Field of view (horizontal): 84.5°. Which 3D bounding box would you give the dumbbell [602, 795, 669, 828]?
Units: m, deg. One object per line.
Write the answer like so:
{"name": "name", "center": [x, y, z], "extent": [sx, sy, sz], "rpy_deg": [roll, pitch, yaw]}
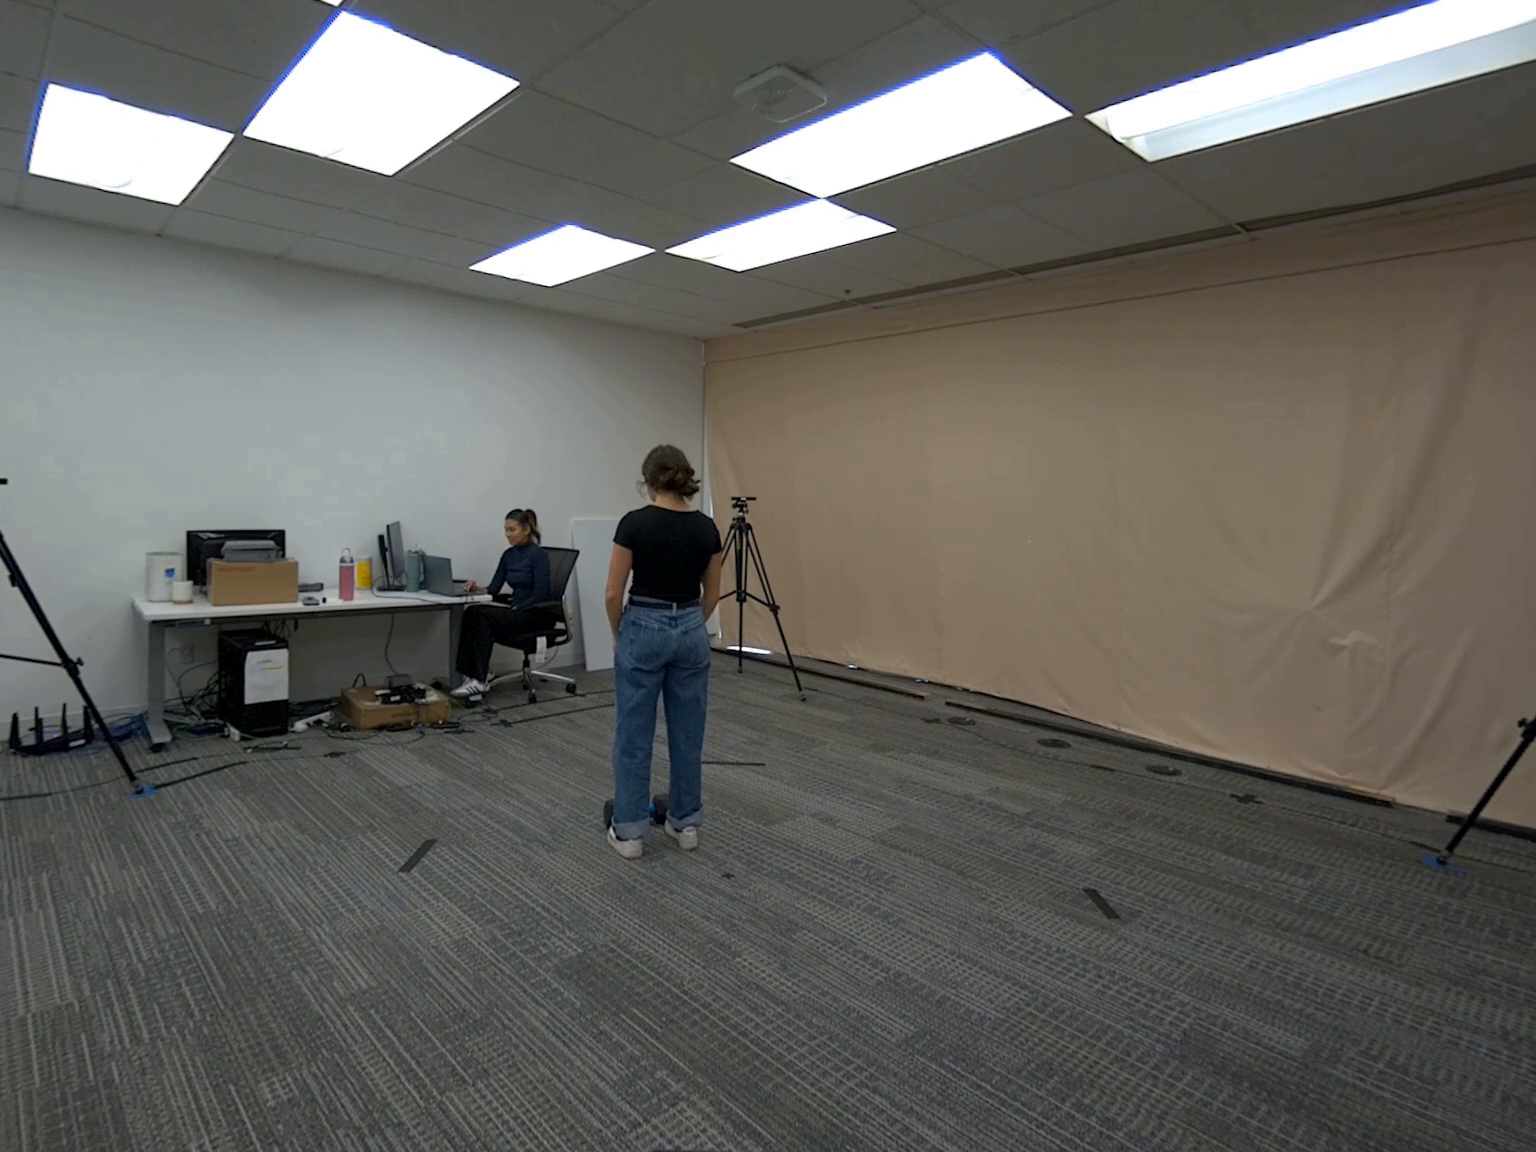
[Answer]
{"name": "dumbbell", "center": [-0.556, 1.003, 3.579], "extent": [0.289, 0.125, 0.108], "rpy_deg": [0, -26, -22]}
